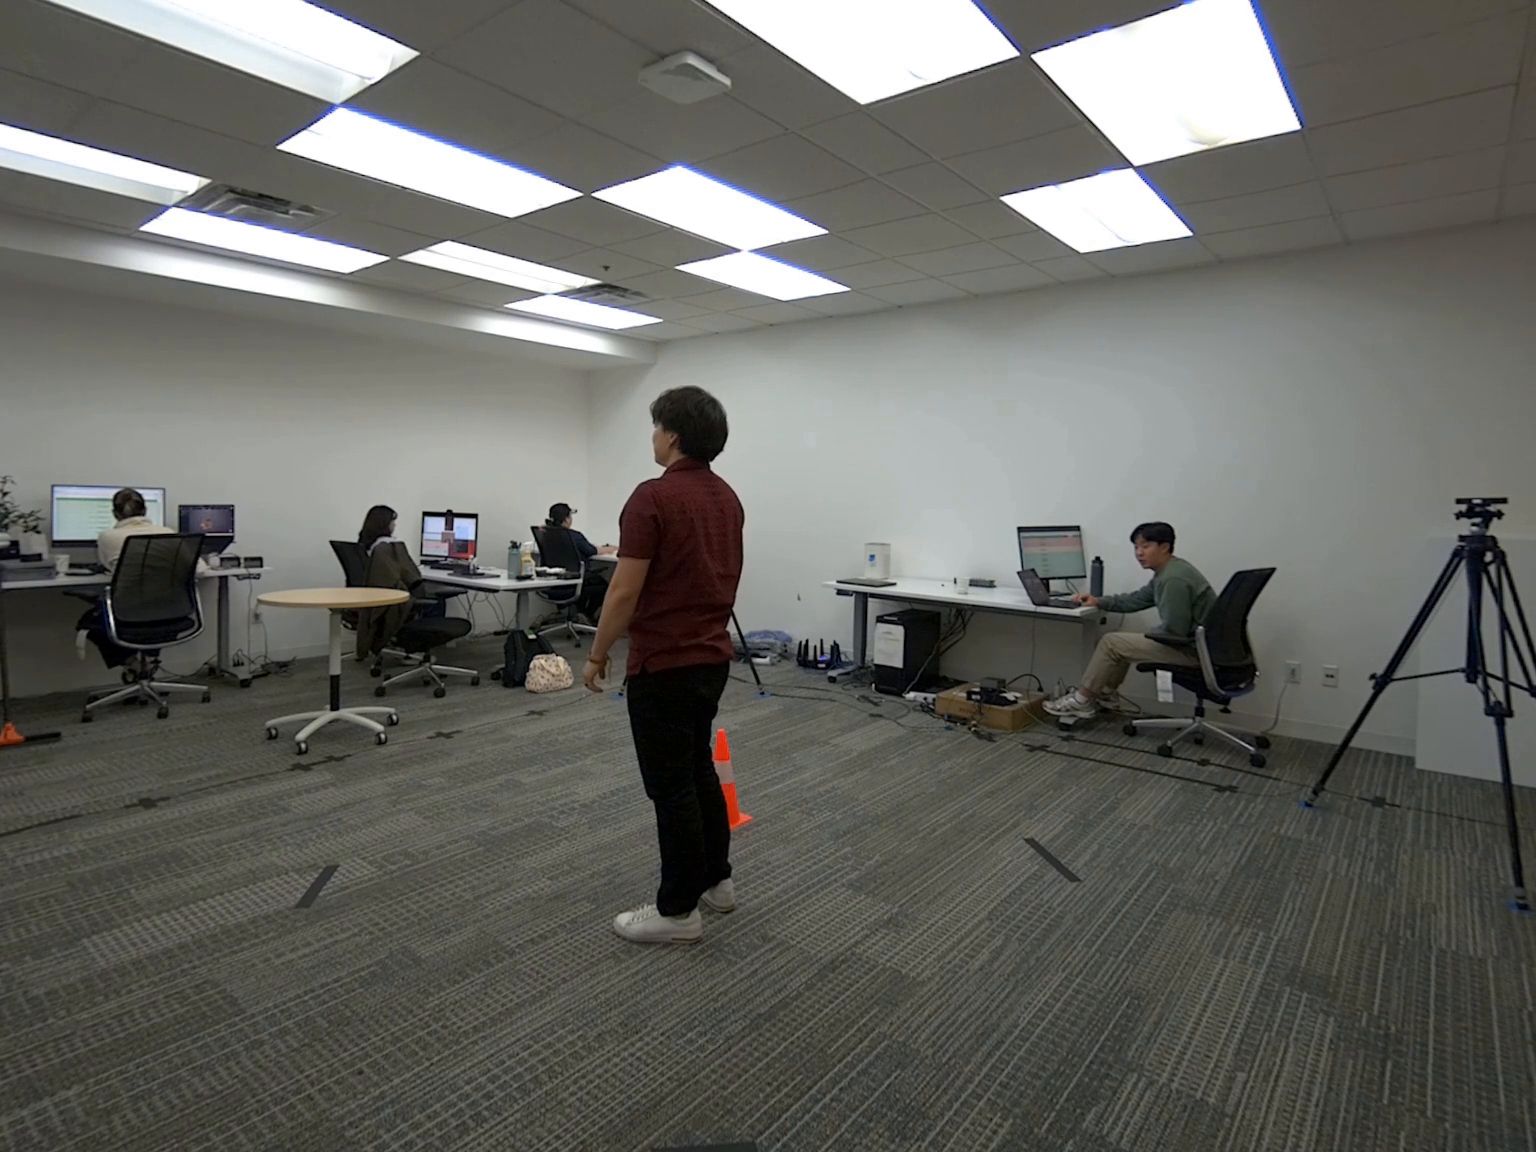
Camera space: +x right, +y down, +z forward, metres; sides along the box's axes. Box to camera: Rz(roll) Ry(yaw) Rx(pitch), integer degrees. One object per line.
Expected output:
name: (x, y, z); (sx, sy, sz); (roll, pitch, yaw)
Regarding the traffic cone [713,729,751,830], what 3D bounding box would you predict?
traffic cone: (-0.202, 0.839, 3.589); (0.197, 0.382, 0.212); (-2, 5, -36)
